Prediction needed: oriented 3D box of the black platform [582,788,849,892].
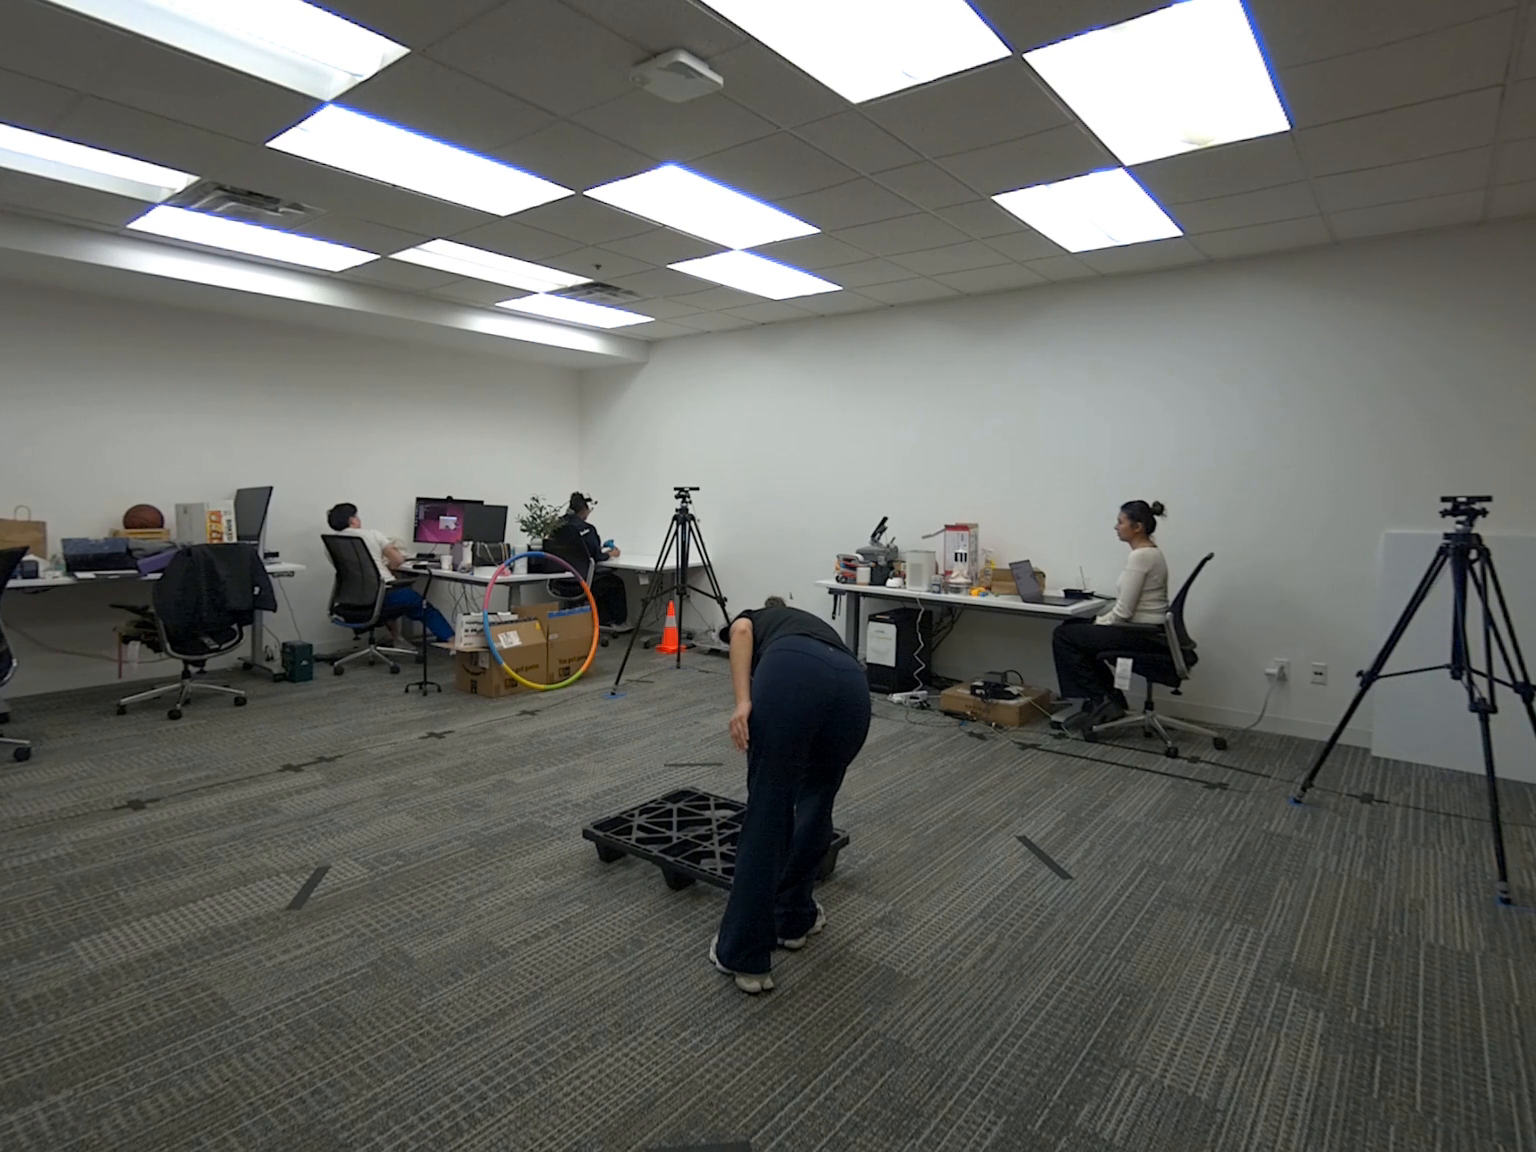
[{"bbox_3d":[-0.184,0.991,3.139,0.832,0.143,0.587,5,6,38],"label":"black platform"}]
